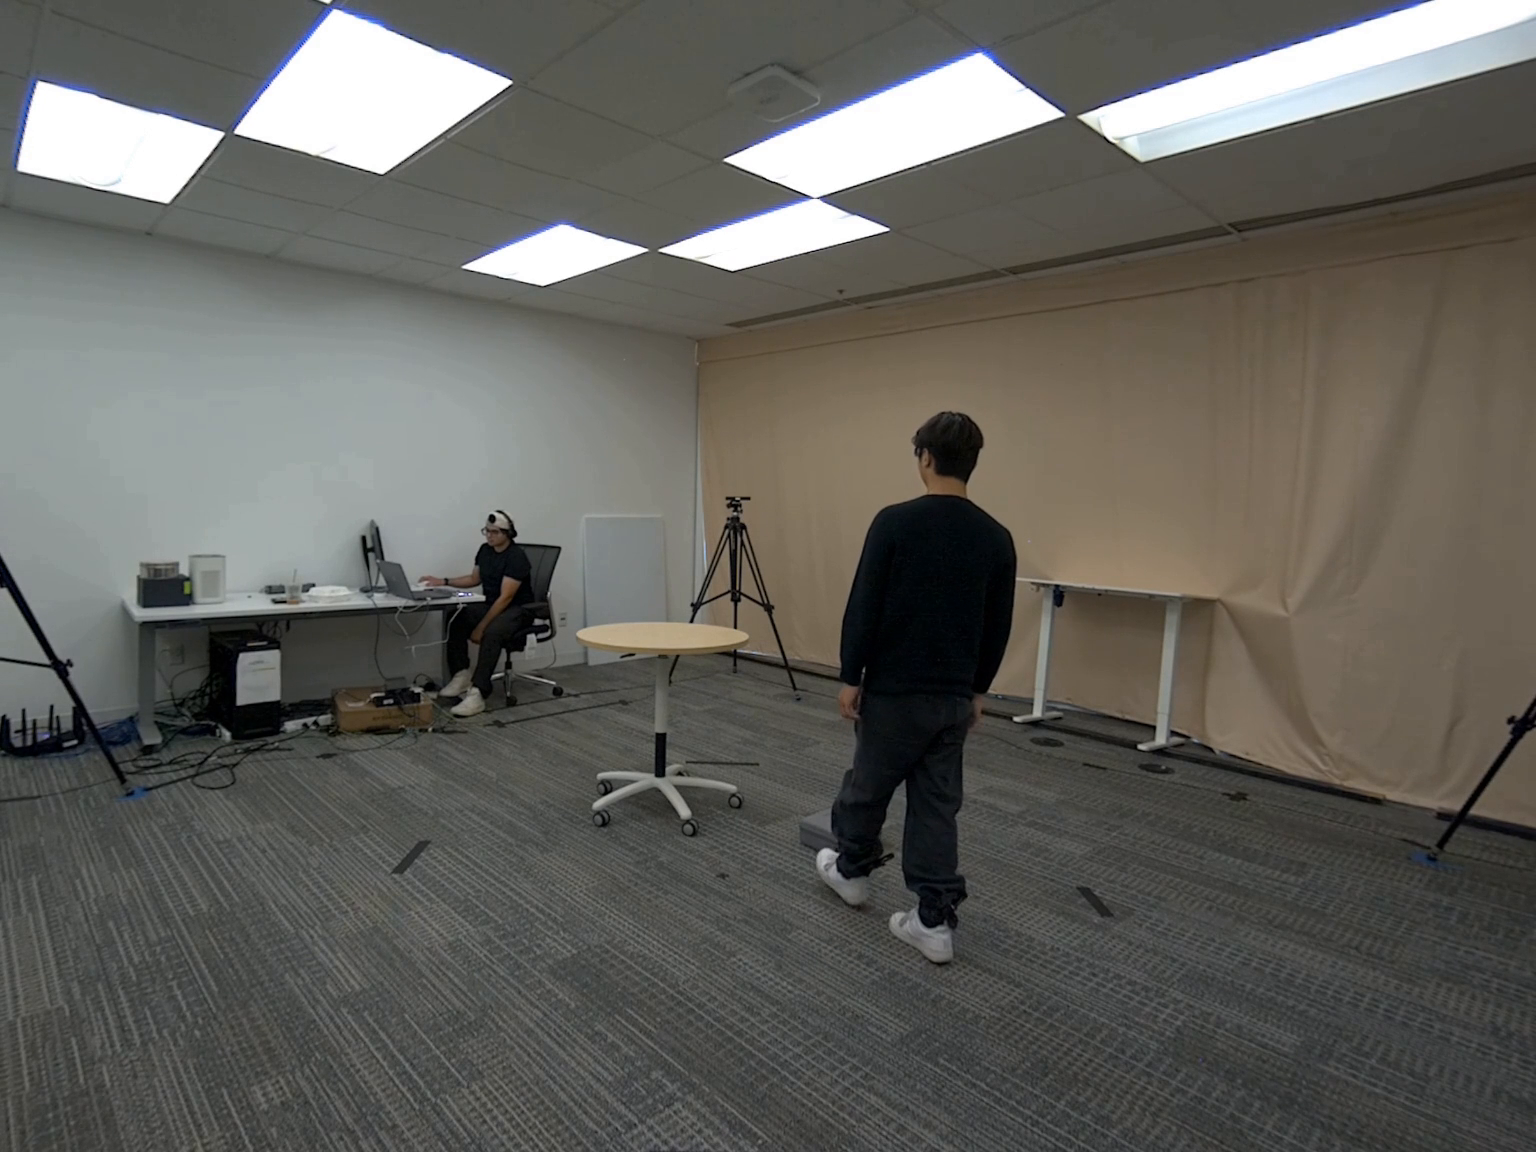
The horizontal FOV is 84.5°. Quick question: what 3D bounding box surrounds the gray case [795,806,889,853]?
[{"bbox_3d":[0.295,1.034,3.409,0.251,0.104,0.267,-1,5,-44],"label":"gray case"}]
